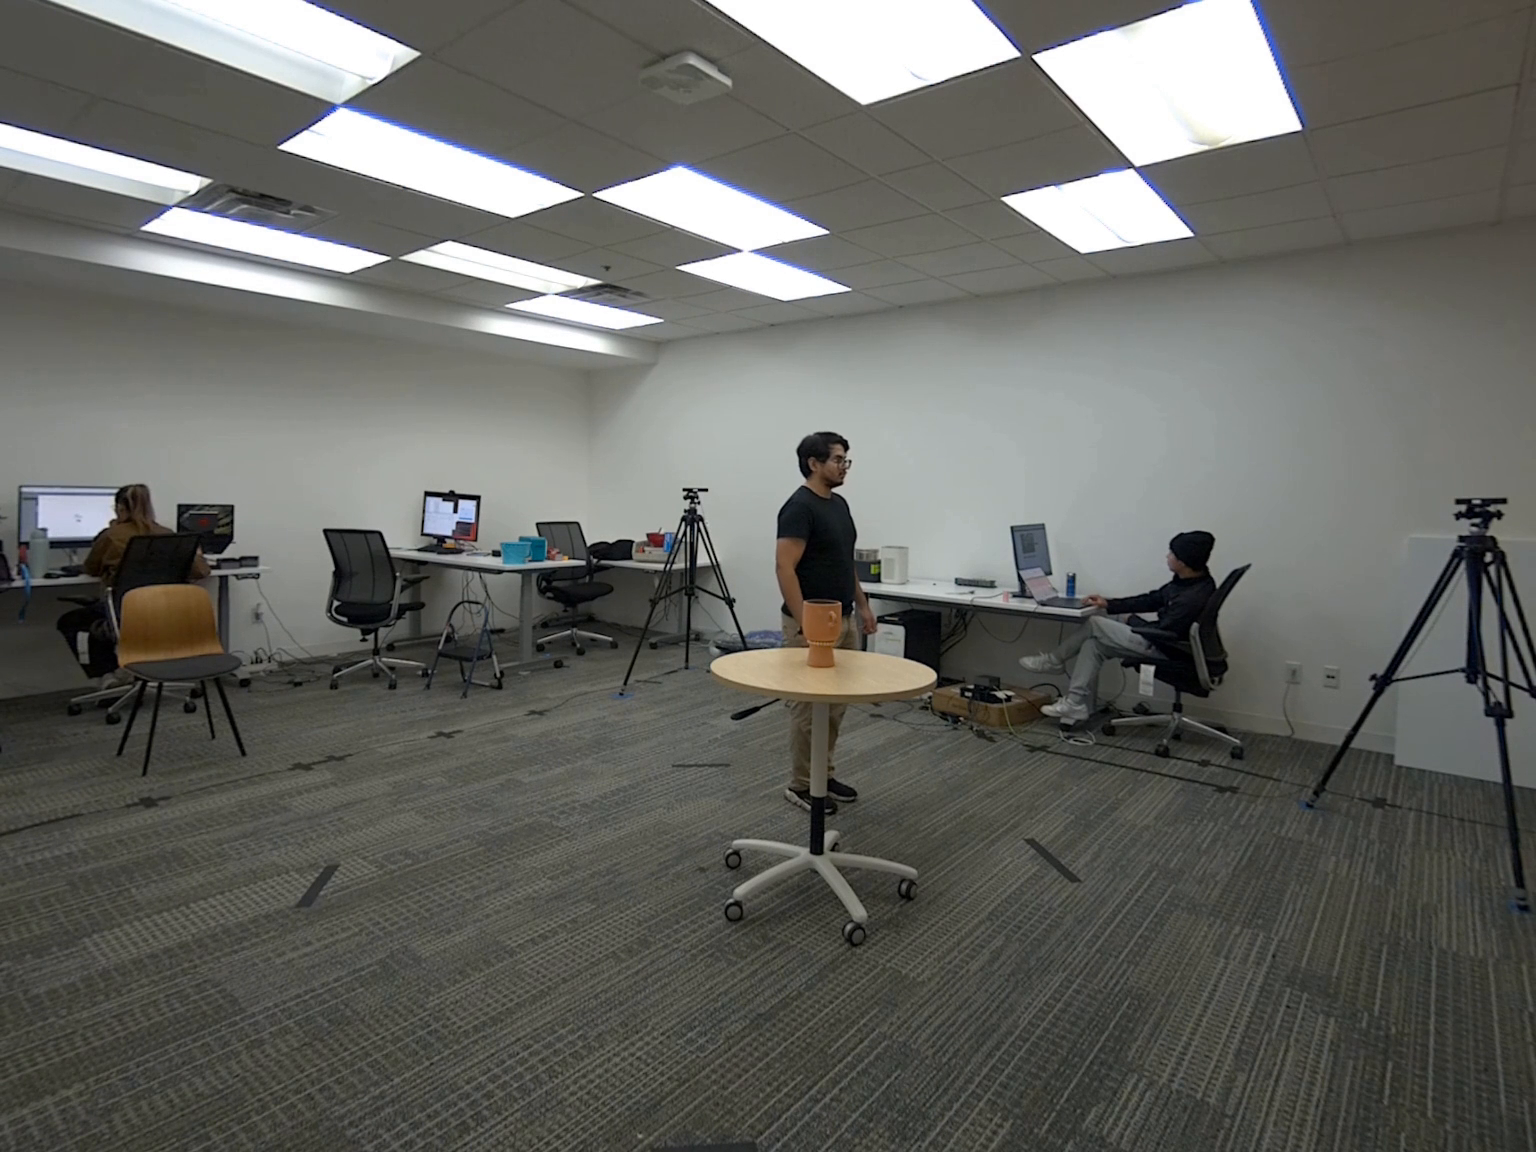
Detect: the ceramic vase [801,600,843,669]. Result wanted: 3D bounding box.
[{"bbox_3d":[0.178,0.200,2.963,0.137,0.219,0.156,1,4,17],"label":"ceramic vase"}]
